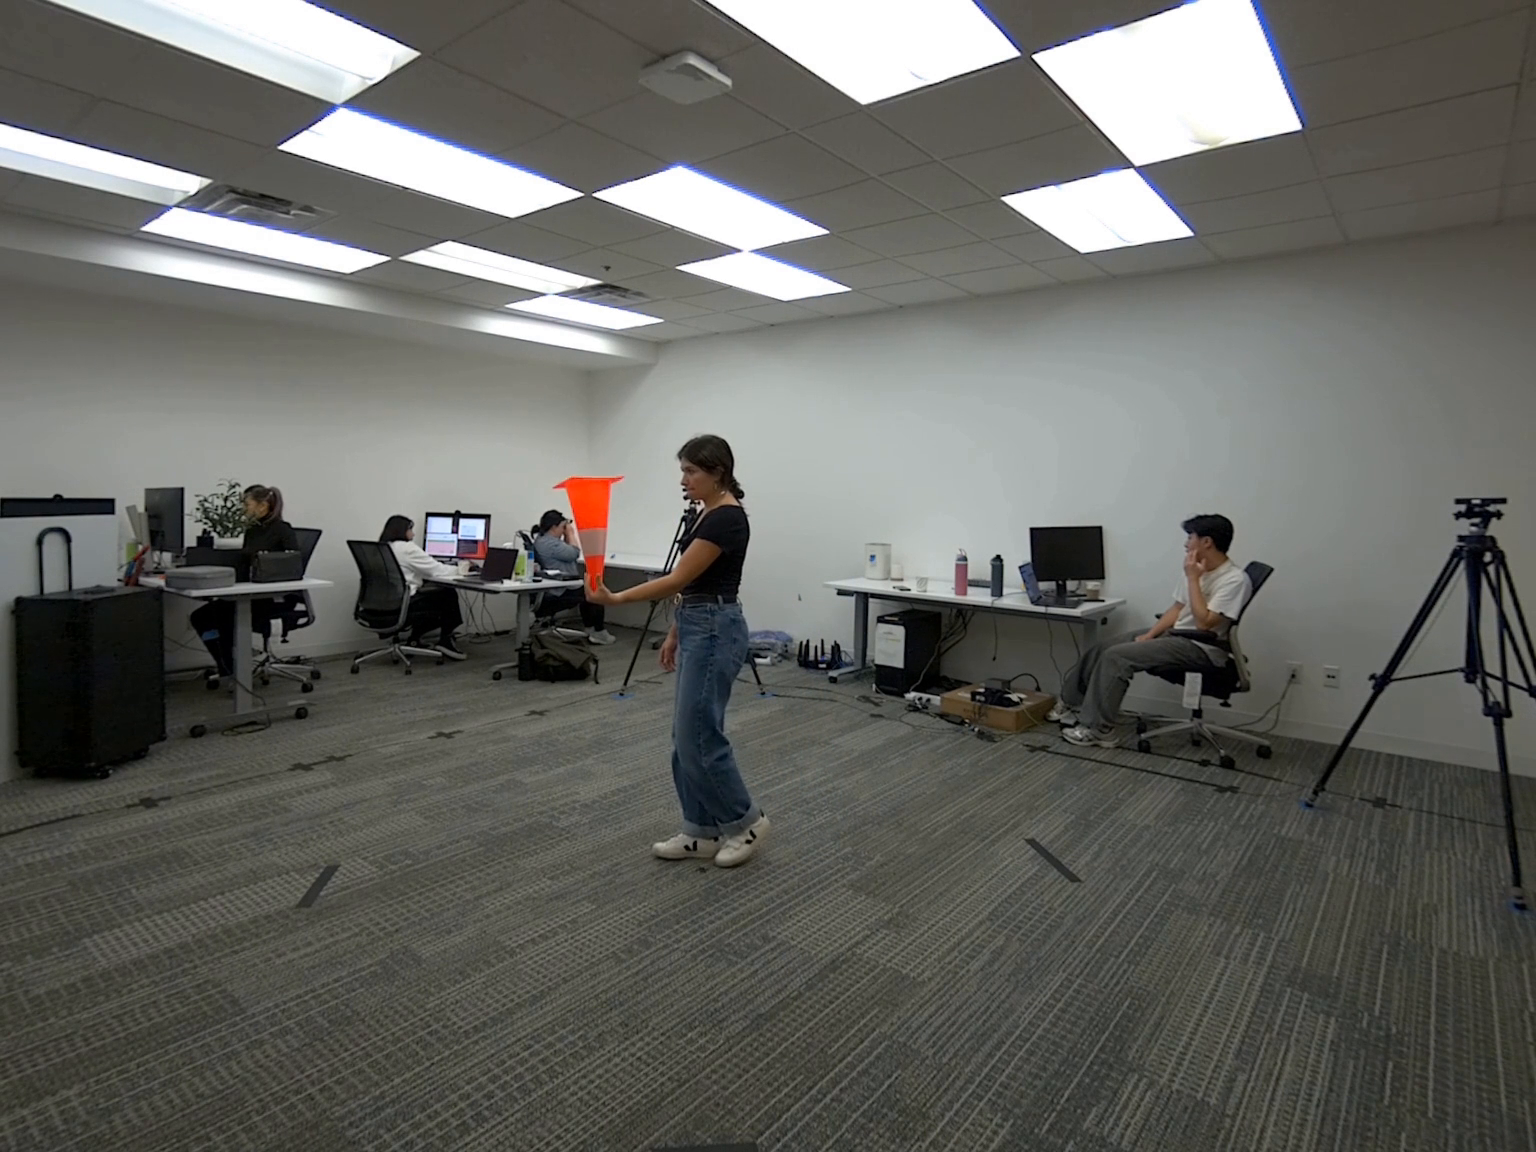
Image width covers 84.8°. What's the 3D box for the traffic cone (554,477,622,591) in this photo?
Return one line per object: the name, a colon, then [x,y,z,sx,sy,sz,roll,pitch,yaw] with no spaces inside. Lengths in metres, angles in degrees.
traffic cone: [-0.606,-0.135,2.923,0.199,0.384,0.209,-5,-2,-26]
